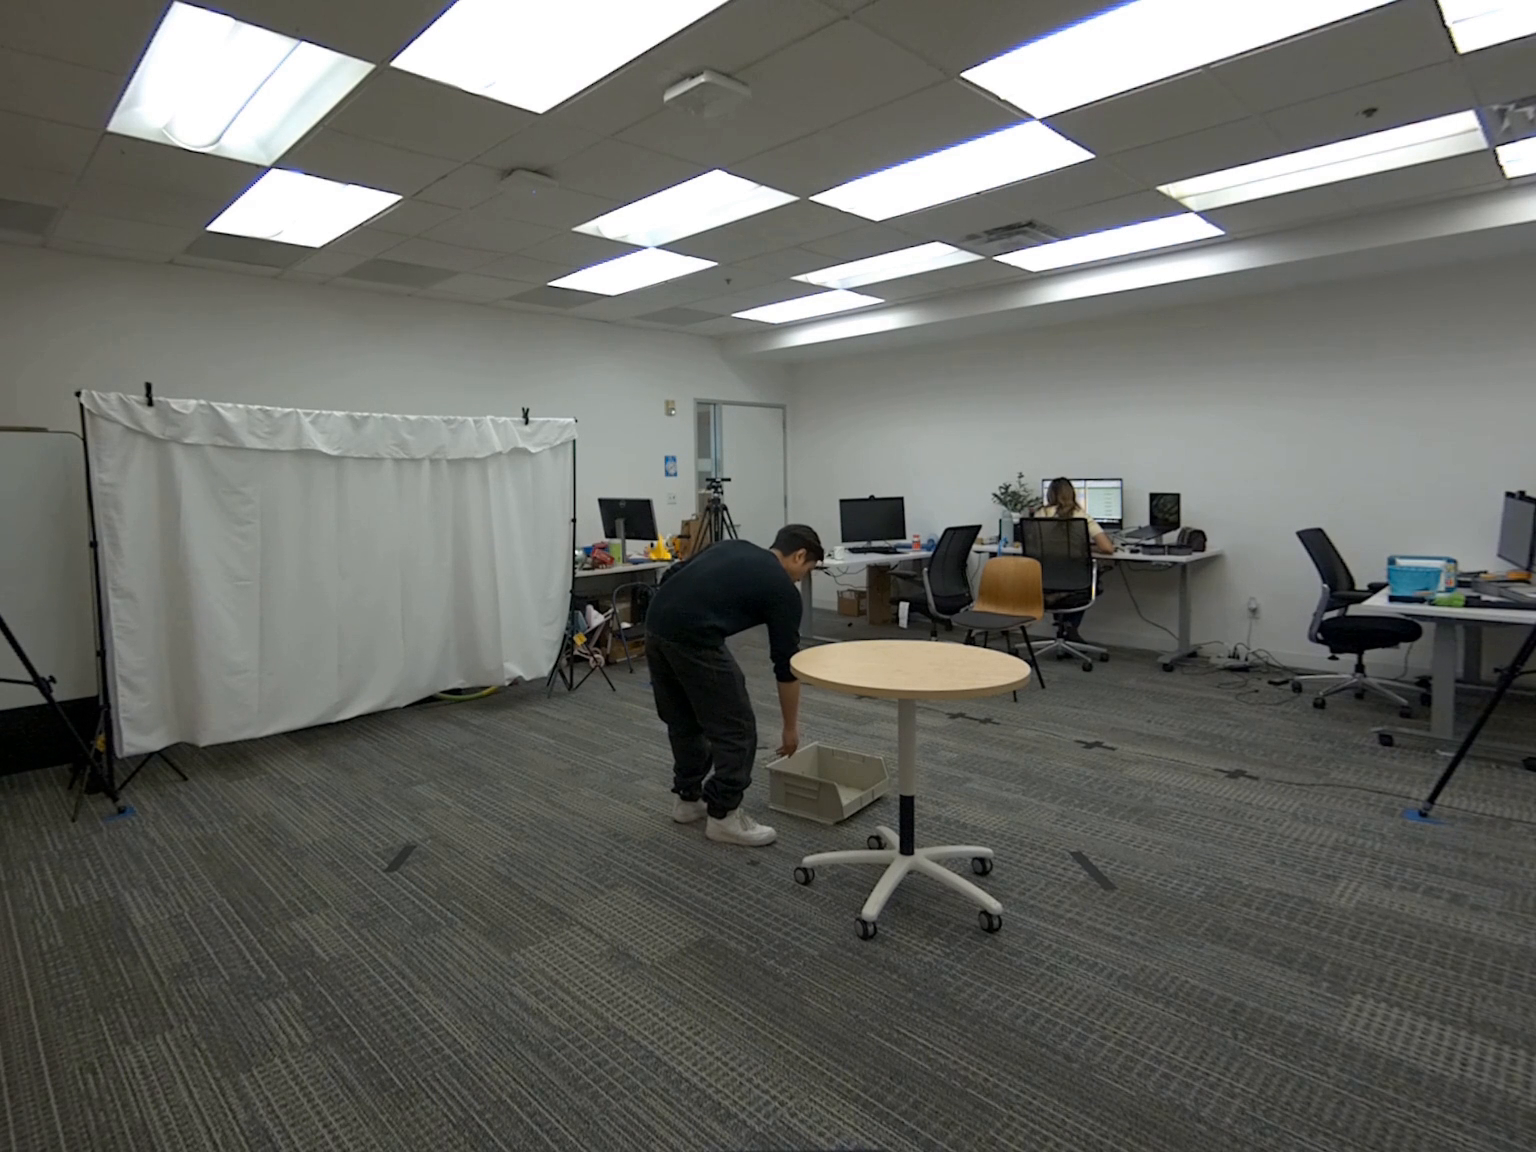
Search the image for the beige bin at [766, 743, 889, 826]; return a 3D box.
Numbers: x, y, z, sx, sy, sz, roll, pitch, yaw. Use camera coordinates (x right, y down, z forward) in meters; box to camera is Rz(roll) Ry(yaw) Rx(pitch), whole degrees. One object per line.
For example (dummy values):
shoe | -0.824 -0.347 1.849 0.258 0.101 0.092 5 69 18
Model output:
beige bin | 0.261 0.886 3.672 0.388 0.188 0.412 3 7 36
